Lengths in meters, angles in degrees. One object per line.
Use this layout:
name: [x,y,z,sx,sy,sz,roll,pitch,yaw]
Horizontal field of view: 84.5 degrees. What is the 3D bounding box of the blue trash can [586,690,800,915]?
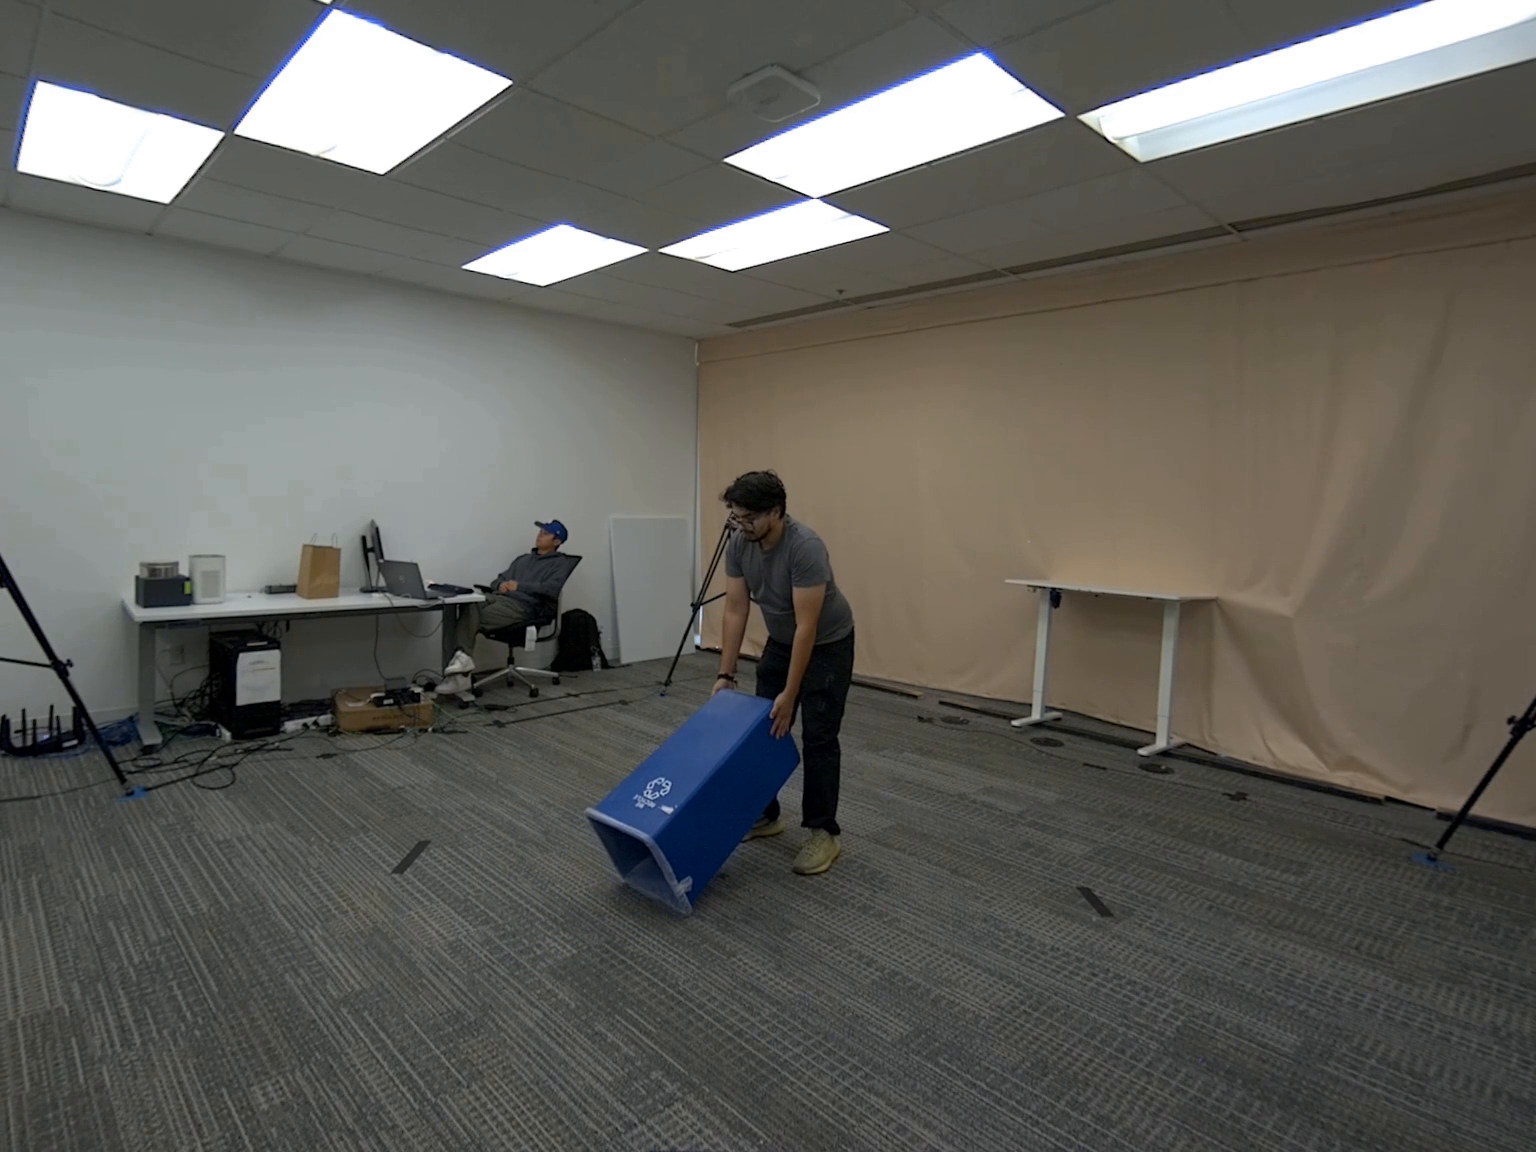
blue trash can: [-0.246,0.775,3.043,0.383,0.369,0.712,4,36,43]
